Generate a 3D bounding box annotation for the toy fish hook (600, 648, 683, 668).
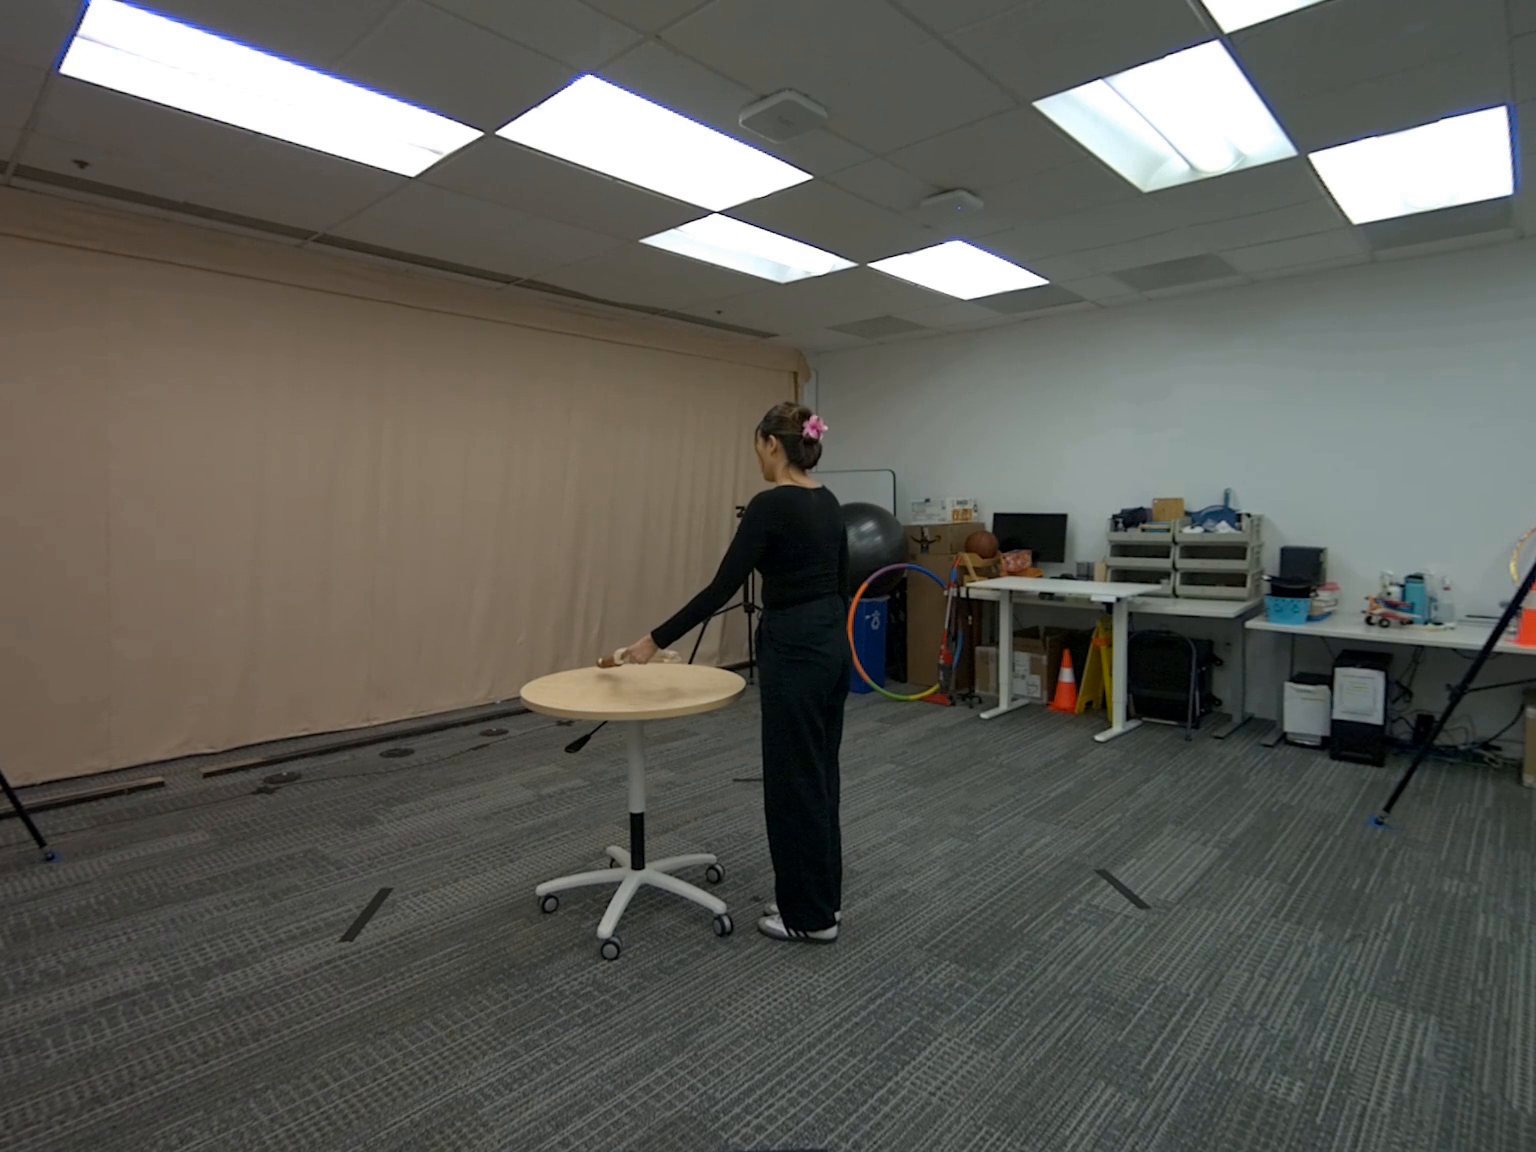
[{"bbox_3d":[-0.459,0.296,2.883,0.219,0.048,0.516,12,-13,-25],"label":"toy fish hook"}]
